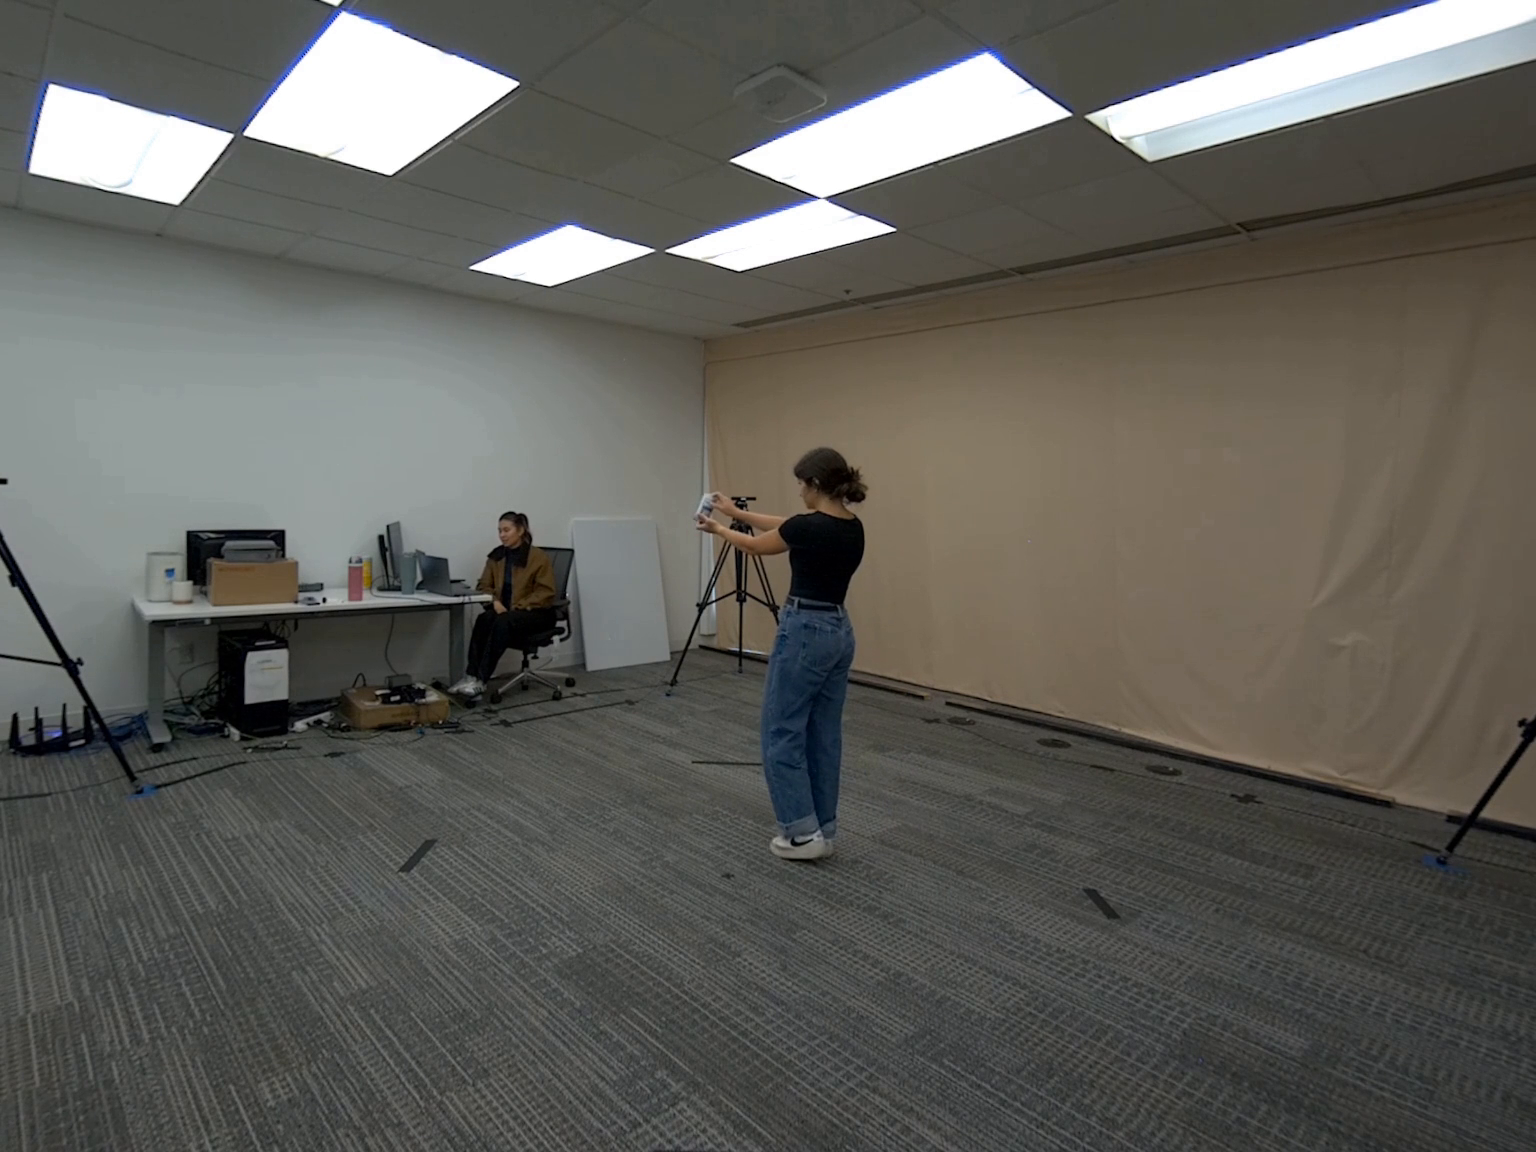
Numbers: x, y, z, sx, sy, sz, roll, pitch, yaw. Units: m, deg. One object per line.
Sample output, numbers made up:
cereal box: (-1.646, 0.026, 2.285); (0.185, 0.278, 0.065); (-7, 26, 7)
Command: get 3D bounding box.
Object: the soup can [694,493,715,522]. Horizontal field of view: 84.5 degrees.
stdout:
soup can: (-0.271, -0.292, 3.629); (0.067, 0.121, 0.067); (19, -1, -1)
